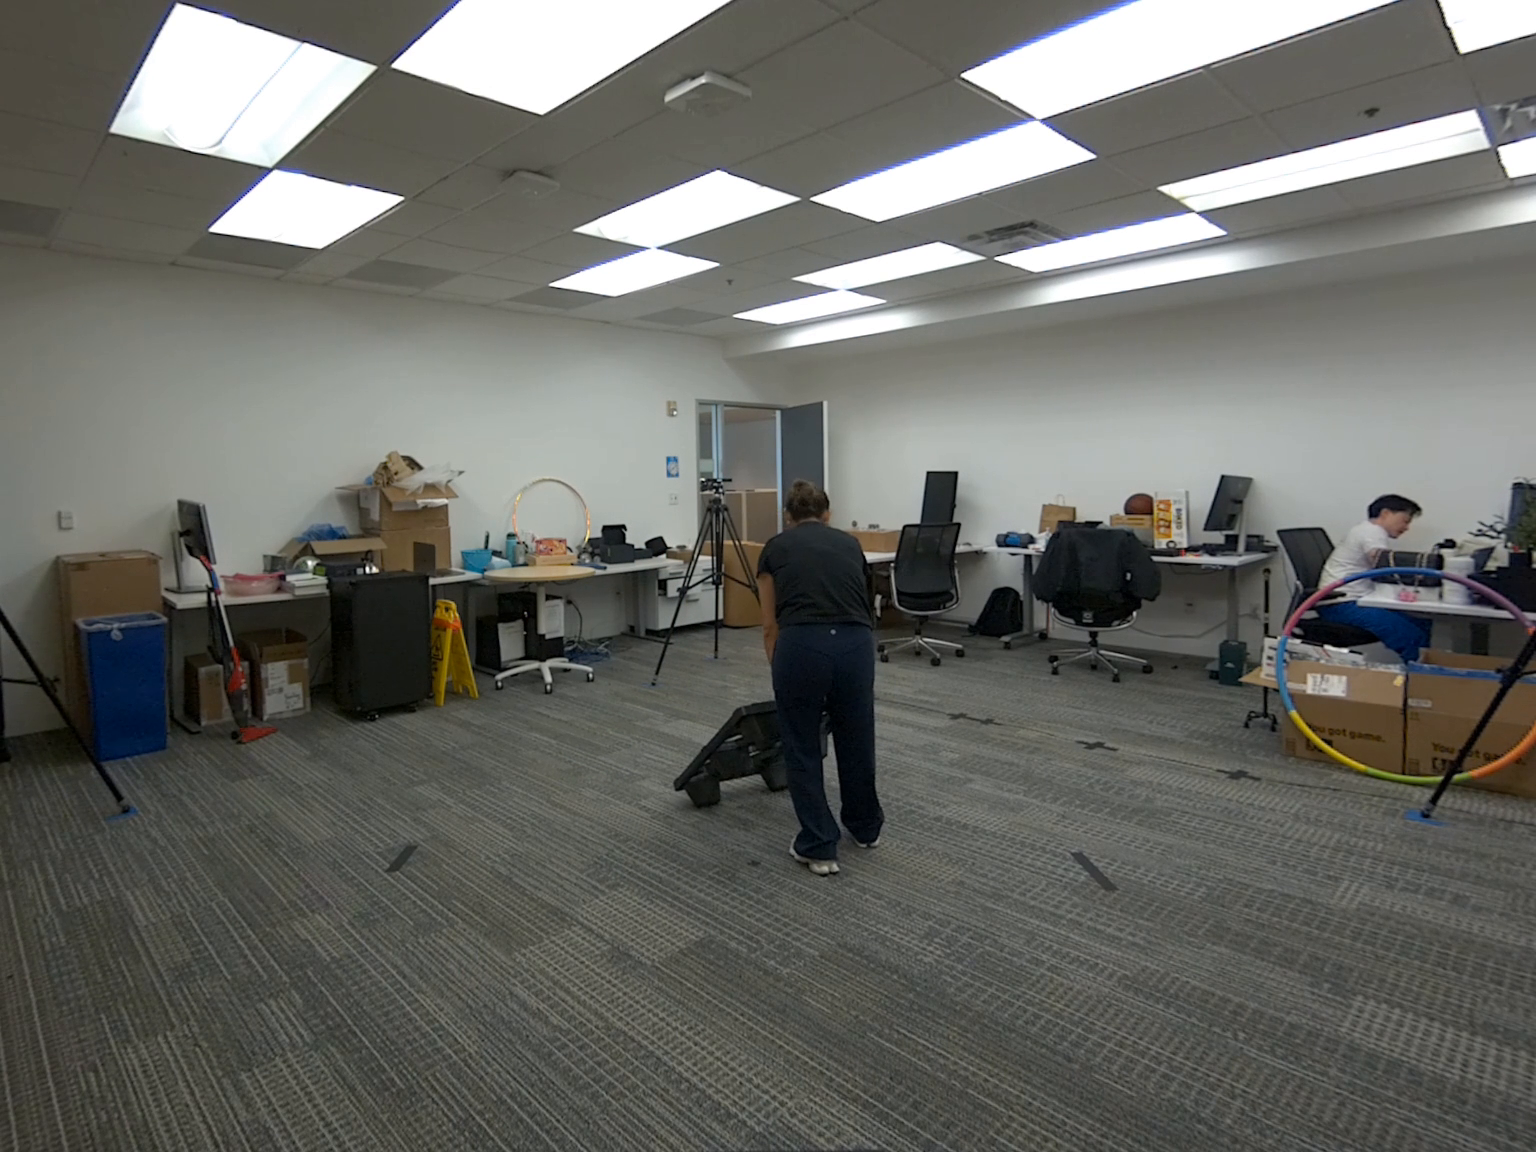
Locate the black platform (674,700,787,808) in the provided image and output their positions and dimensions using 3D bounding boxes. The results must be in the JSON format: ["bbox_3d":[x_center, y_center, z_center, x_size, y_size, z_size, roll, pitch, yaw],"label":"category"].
[{"bbox_3d":[0.016,0.718,3.526,0.591,0.147,0.800,-5,-31,-30],"label":"black platform"}]
